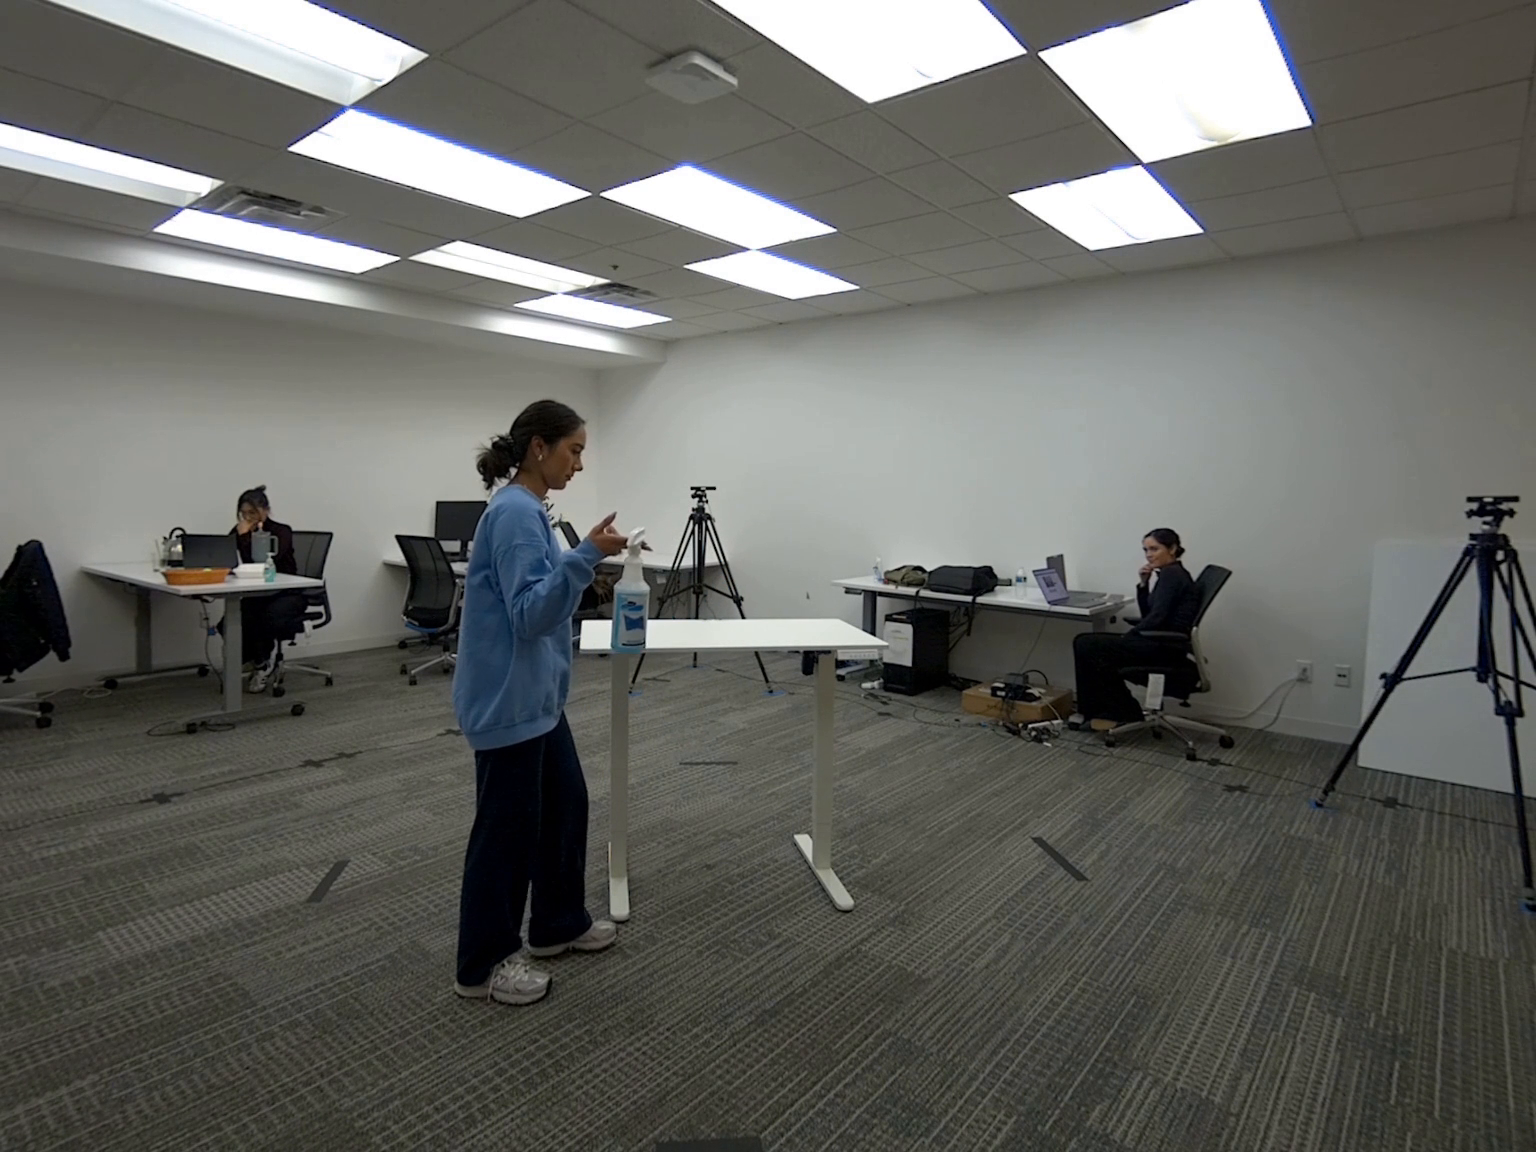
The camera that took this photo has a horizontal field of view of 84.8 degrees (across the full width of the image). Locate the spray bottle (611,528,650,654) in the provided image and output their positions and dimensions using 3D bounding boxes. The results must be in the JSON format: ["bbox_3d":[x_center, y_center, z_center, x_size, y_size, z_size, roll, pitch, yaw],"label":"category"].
[{"bbox_3d":[-0.336,0.034,2.067,0.090,0.296,0.087,11,8,37],"label":"spray bottle"}]
